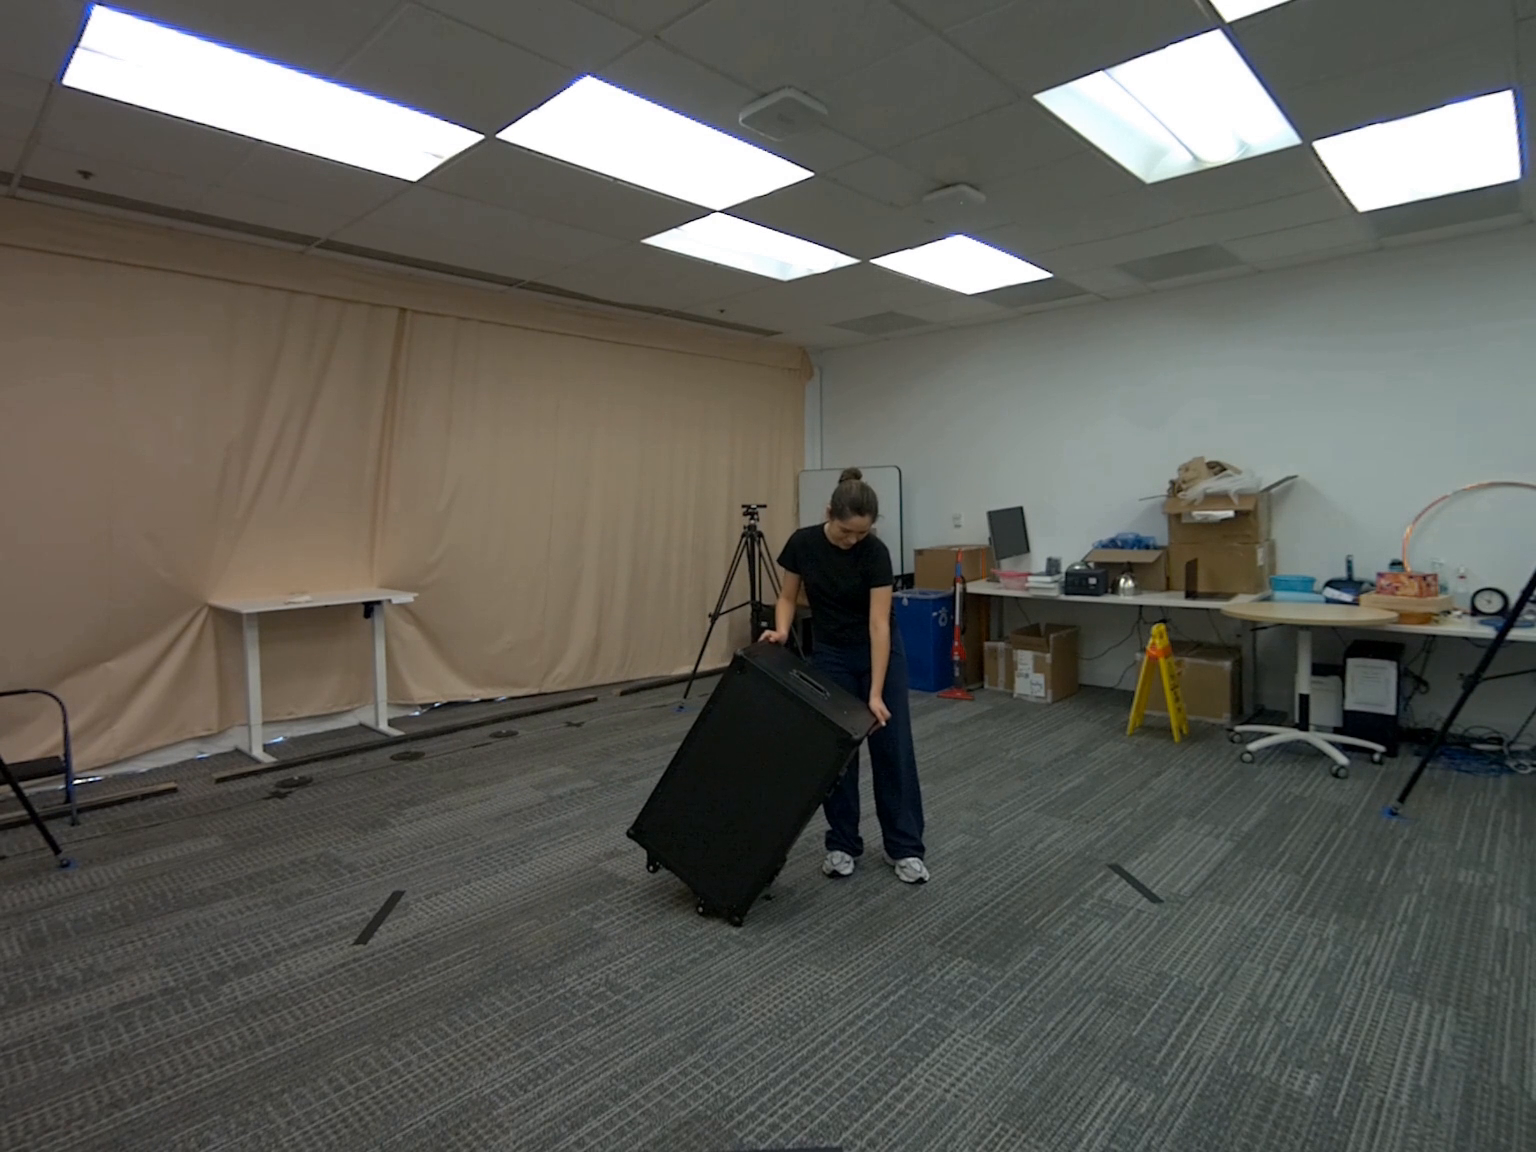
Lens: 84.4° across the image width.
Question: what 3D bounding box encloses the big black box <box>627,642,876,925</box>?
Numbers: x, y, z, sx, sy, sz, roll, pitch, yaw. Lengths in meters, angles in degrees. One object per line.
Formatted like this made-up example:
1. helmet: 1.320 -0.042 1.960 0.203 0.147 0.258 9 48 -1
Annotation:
1. big black box: -0.050 0.712 2.937 0.532 0.861 0.388 35 13 15
